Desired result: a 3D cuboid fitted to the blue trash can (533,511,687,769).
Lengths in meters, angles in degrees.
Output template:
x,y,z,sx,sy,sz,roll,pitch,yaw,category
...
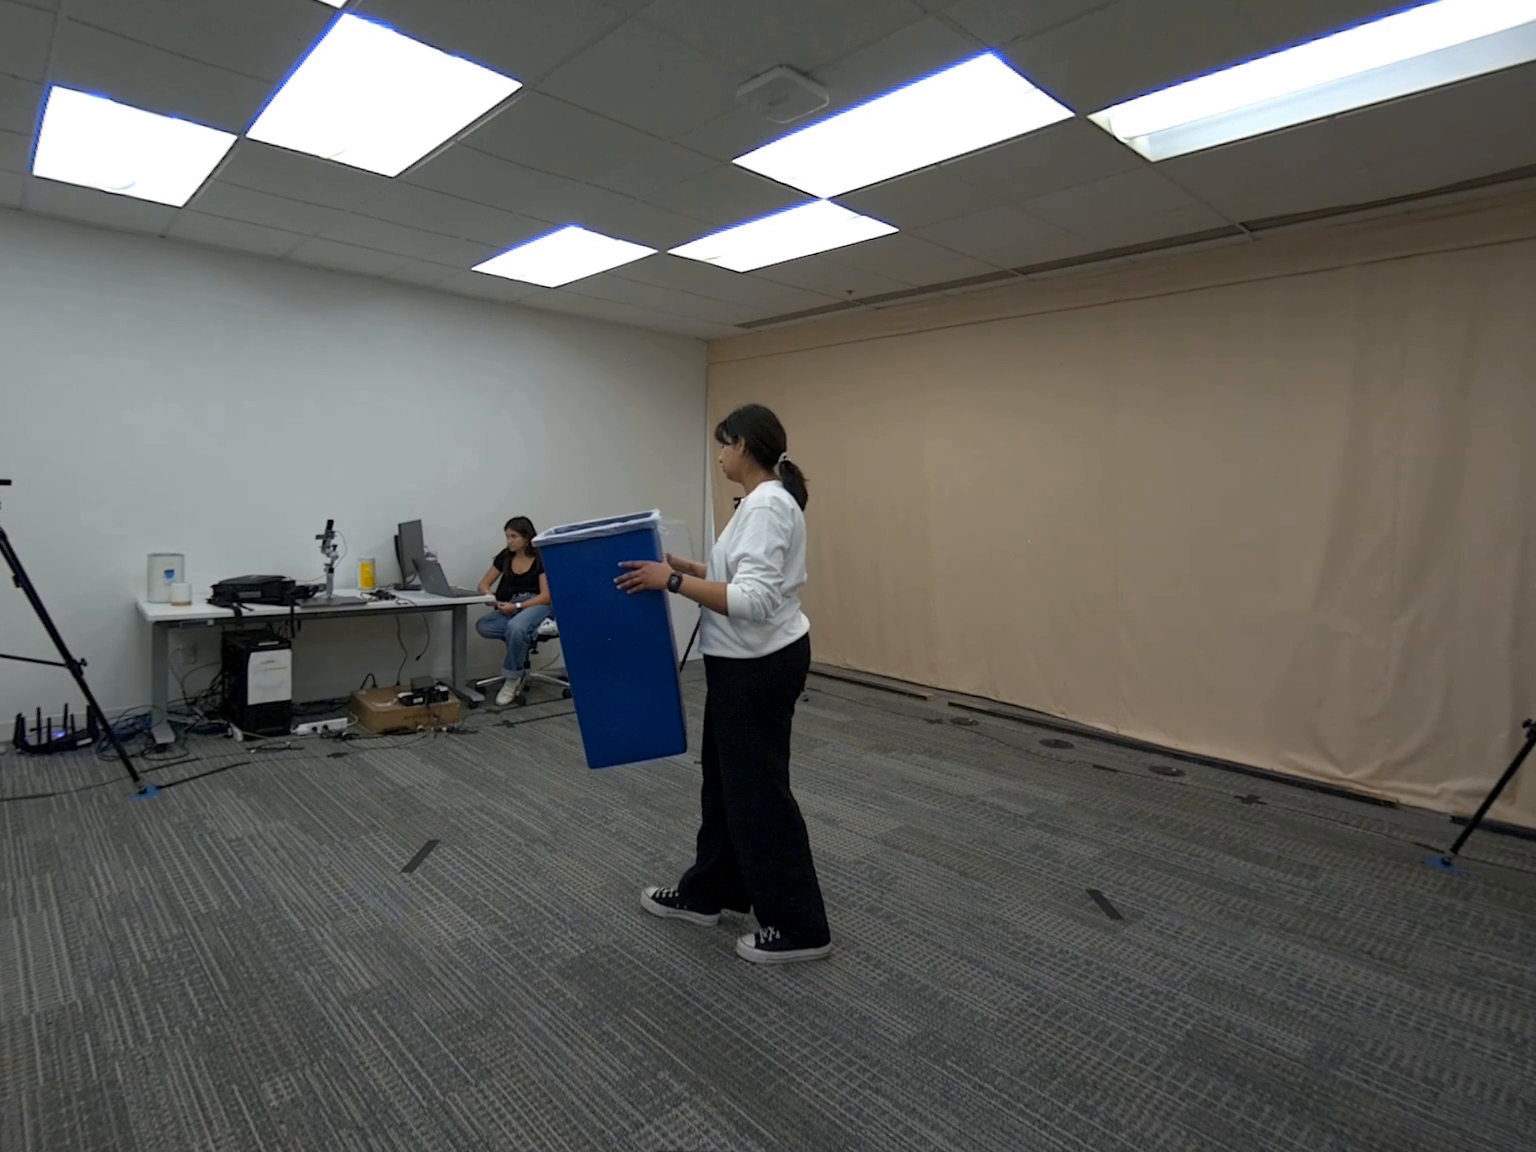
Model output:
x,y,z,sx,sy,sz,roll,pitch,yaw,category
-0.468,0.185,2.618,0.373,0.709,0.381,-9,7,-3,blue trash can
